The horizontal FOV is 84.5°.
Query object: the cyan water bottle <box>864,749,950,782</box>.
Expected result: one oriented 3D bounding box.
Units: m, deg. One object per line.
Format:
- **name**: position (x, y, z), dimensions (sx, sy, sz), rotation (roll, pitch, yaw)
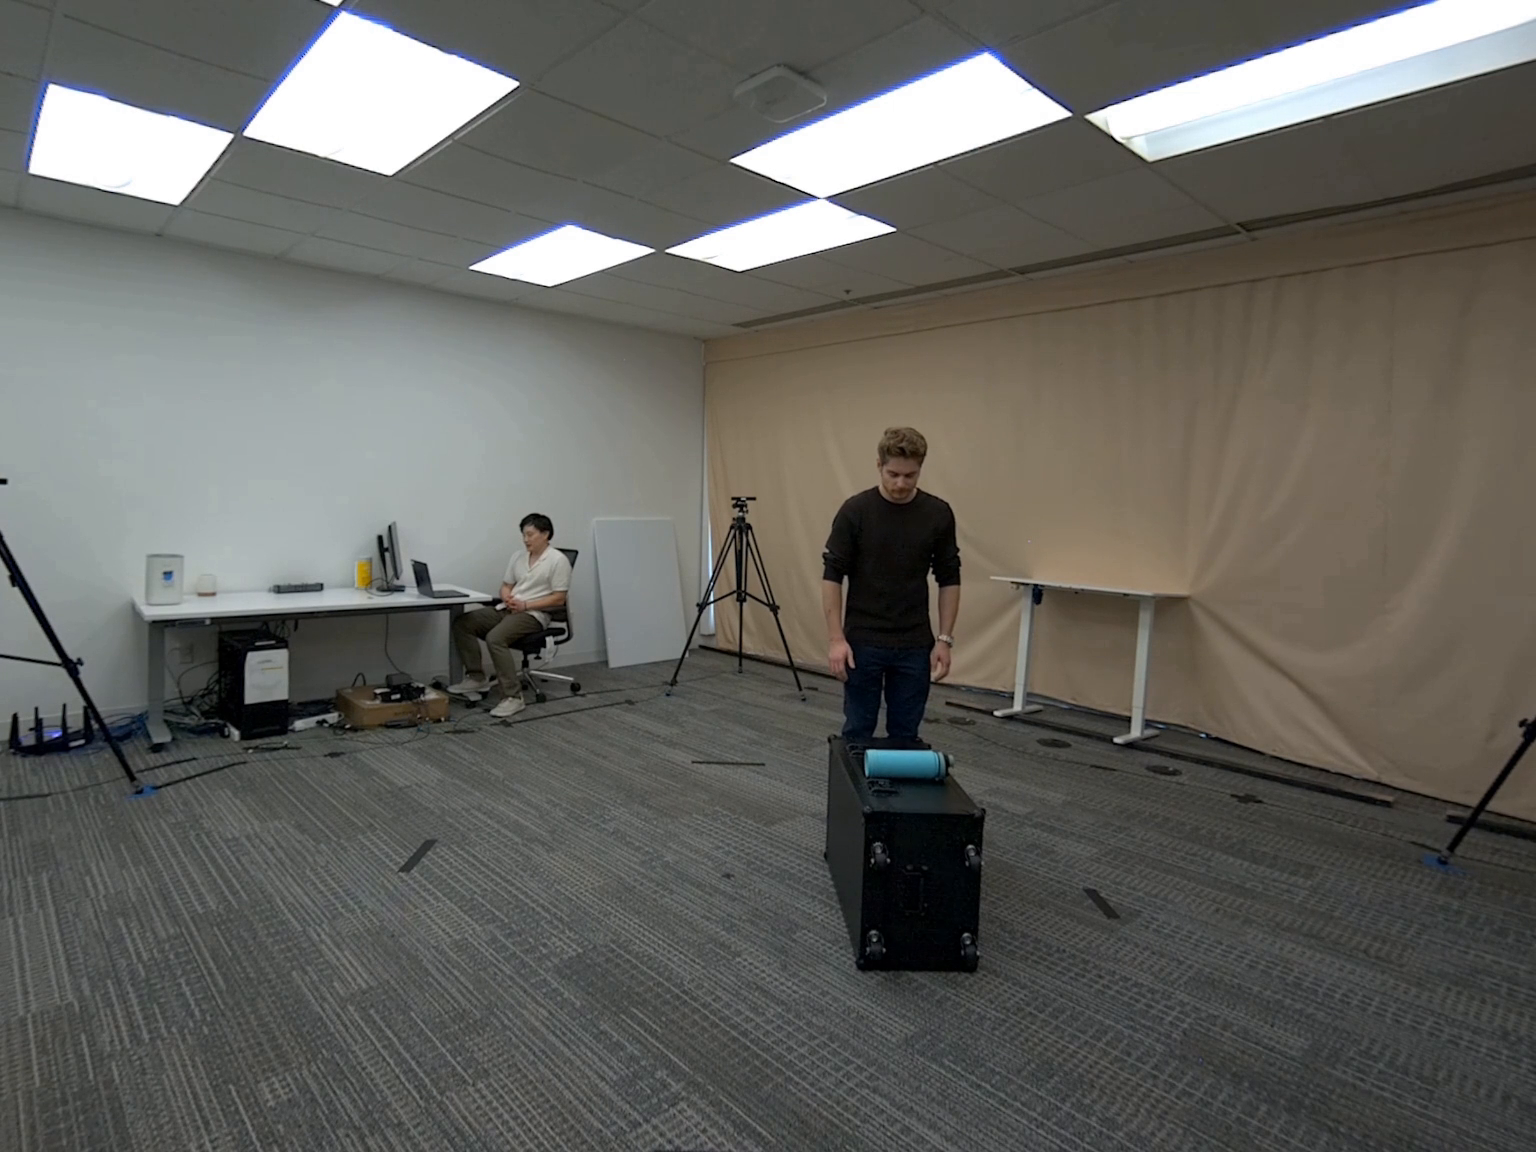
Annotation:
- **cyan water bottle**: position (0.459, 0.622, 2.774), dimensions (0.283, 0.092, 0.092), rotation (1, 4, 1)
